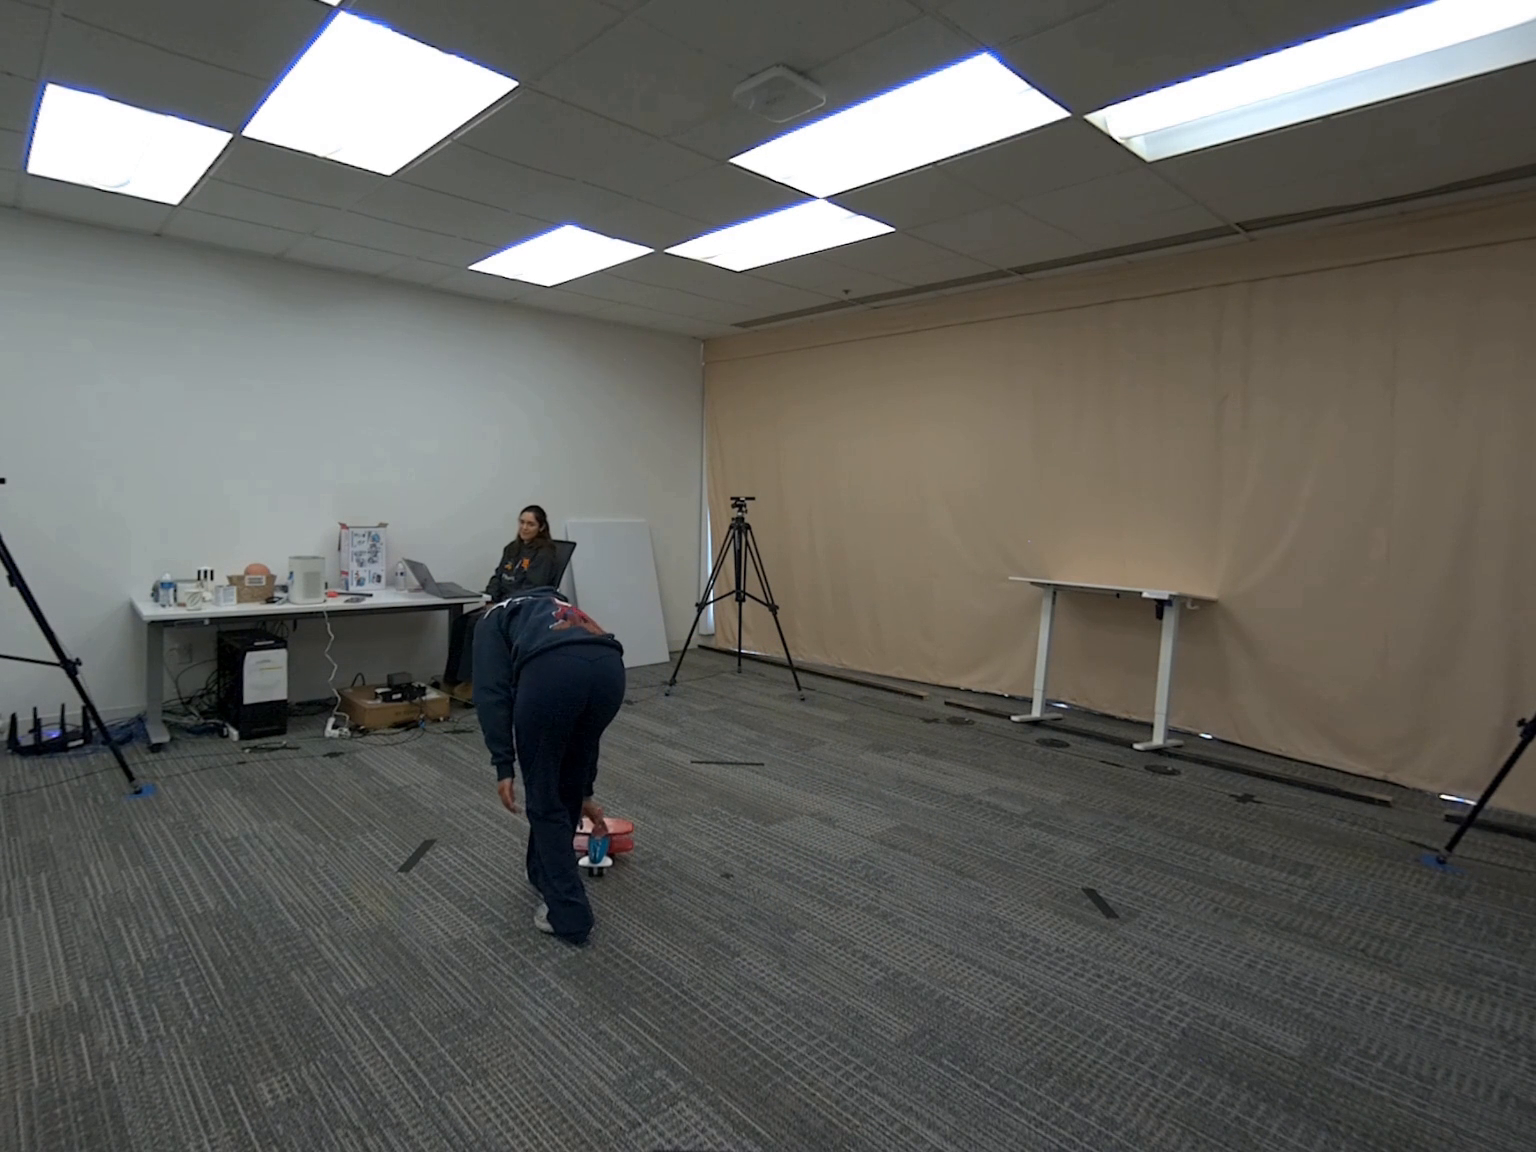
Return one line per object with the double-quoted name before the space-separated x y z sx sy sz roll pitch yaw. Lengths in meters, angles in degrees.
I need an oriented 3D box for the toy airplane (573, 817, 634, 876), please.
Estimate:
"toy airplane" -0.623 1.018 3.167 0.246 0.156 0.265 -2 4 -30
